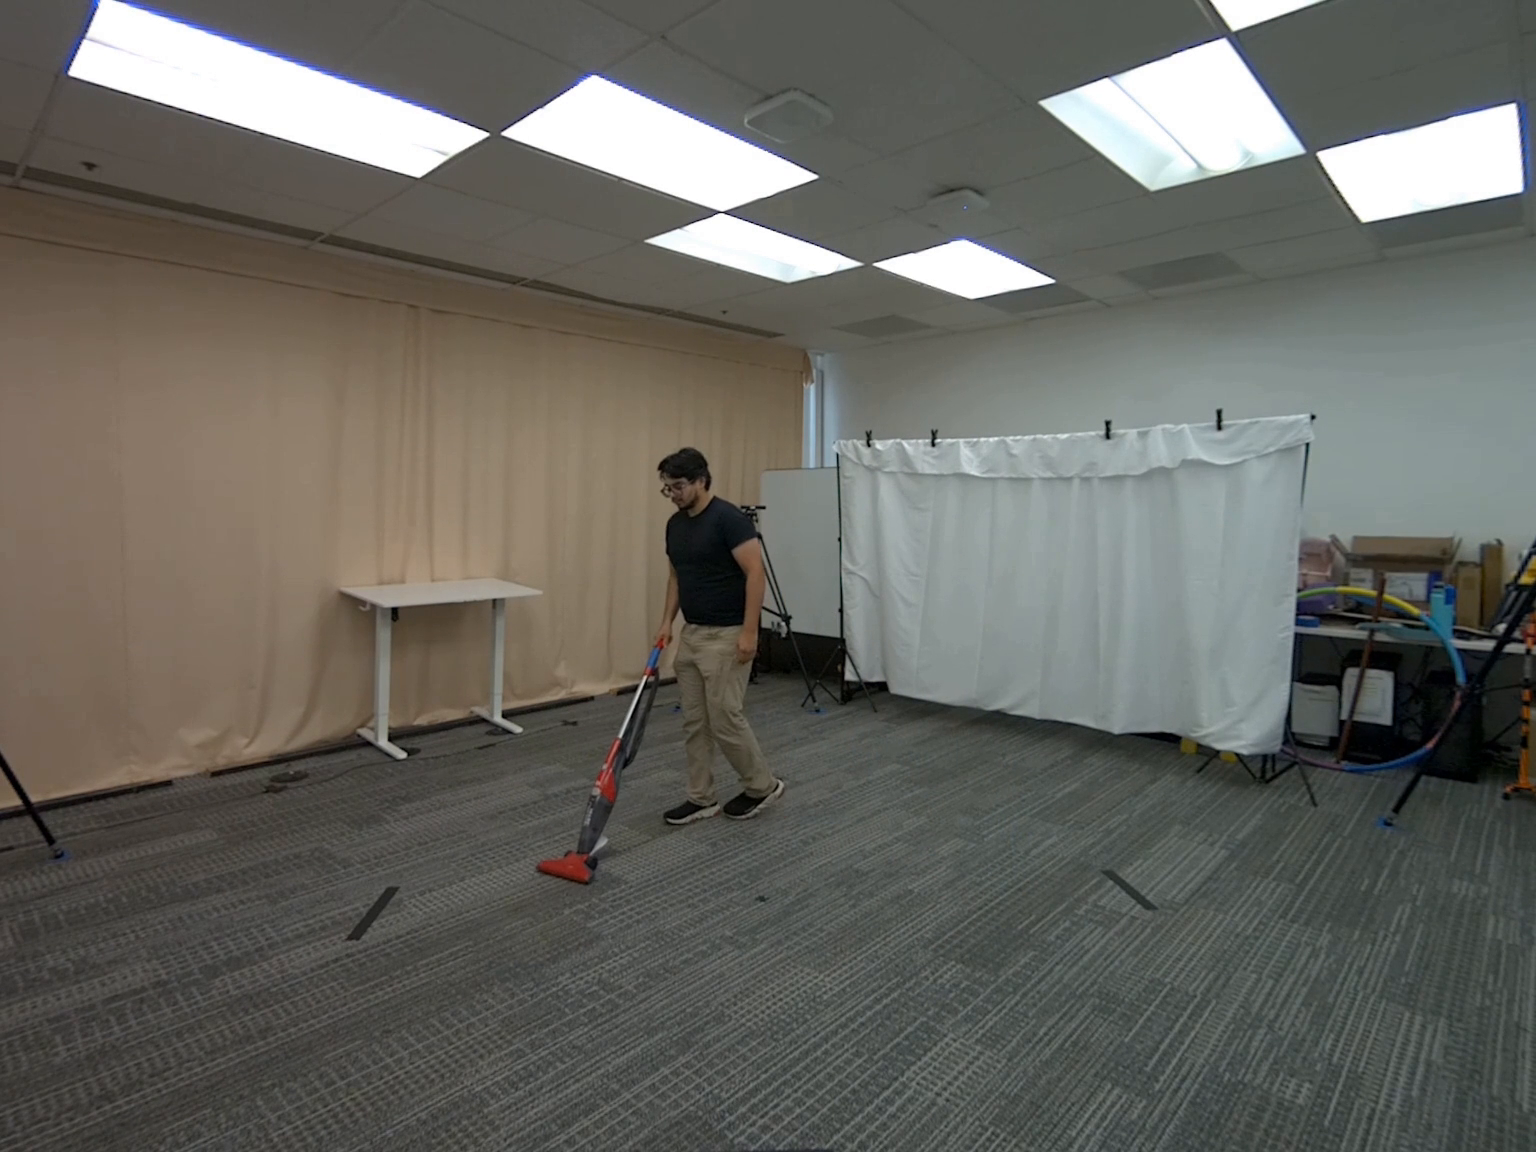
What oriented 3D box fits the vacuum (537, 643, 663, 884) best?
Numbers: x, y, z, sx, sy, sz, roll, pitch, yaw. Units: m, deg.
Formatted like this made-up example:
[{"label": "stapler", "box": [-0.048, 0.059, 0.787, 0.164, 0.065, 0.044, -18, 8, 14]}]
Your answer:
[{"label": "vacuum", "box": [-0.591, 0.701, 3.484, 0.260, 1.055, 0.139, -2, -37, 31]}]
